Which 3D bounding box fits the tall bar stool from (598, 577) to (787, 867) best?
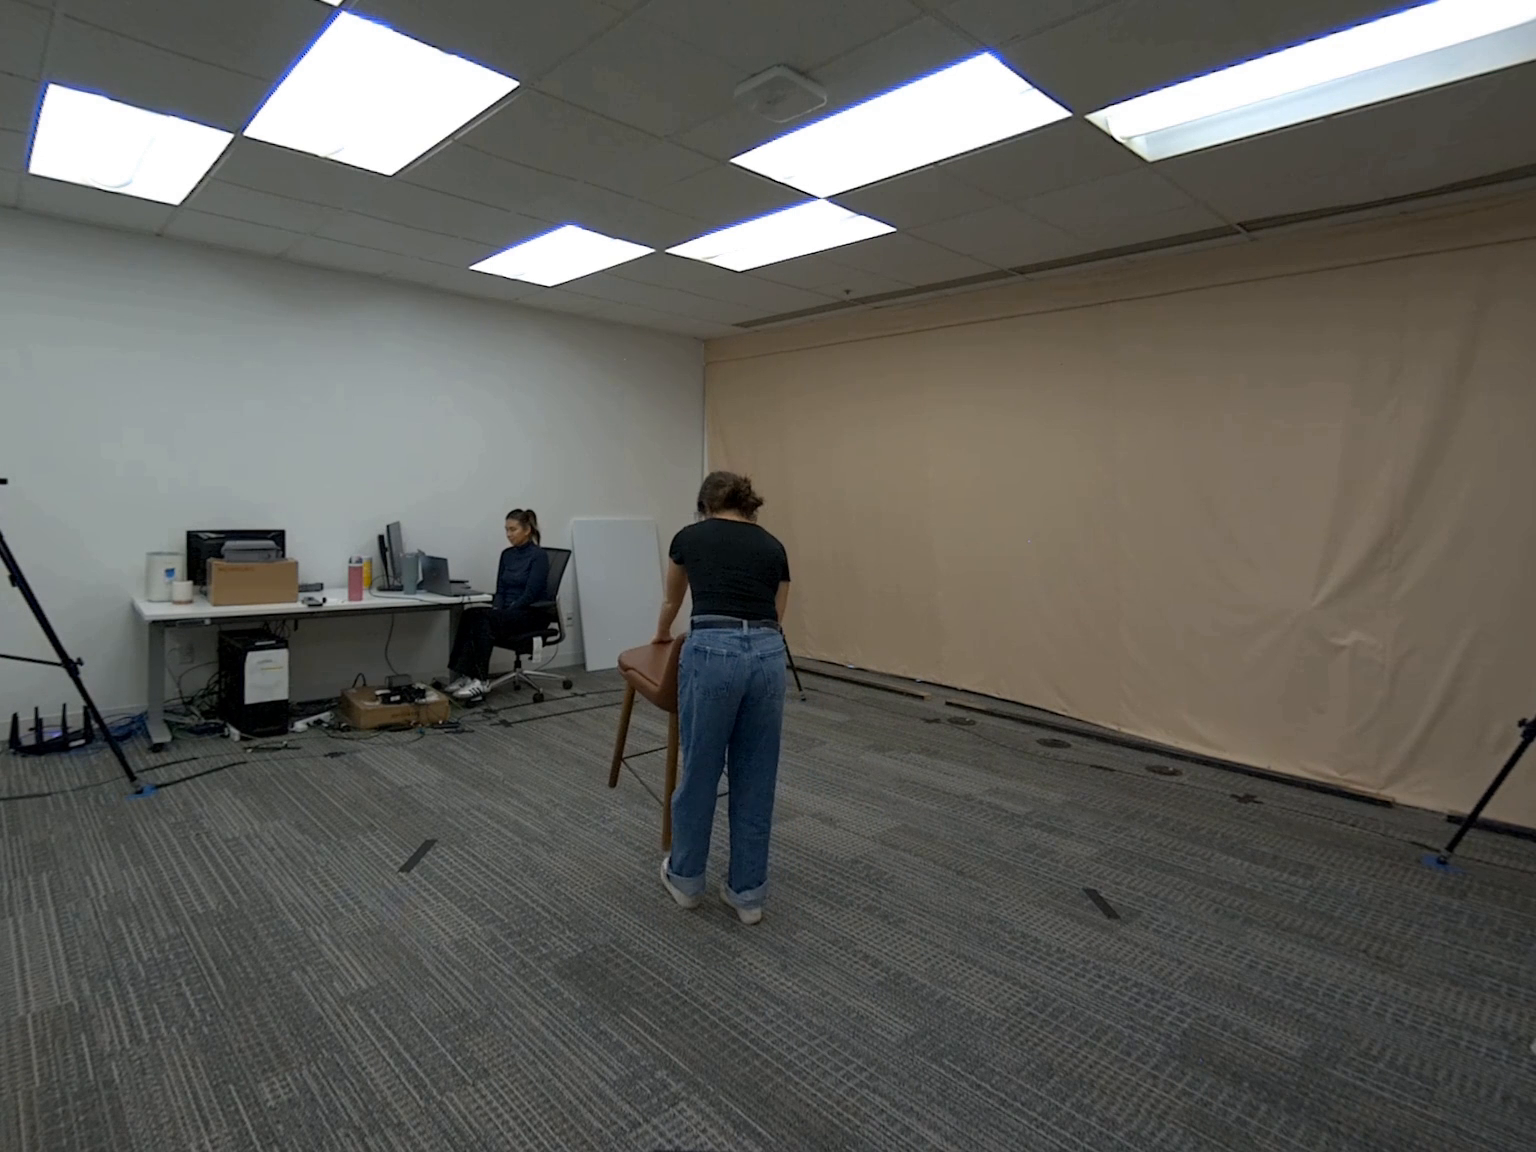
[{"bbox_3d":[-0.305,0.502,3.143,0.448,0.878,0.482,-7,25,-33],"label":"tall bar stool"}]
